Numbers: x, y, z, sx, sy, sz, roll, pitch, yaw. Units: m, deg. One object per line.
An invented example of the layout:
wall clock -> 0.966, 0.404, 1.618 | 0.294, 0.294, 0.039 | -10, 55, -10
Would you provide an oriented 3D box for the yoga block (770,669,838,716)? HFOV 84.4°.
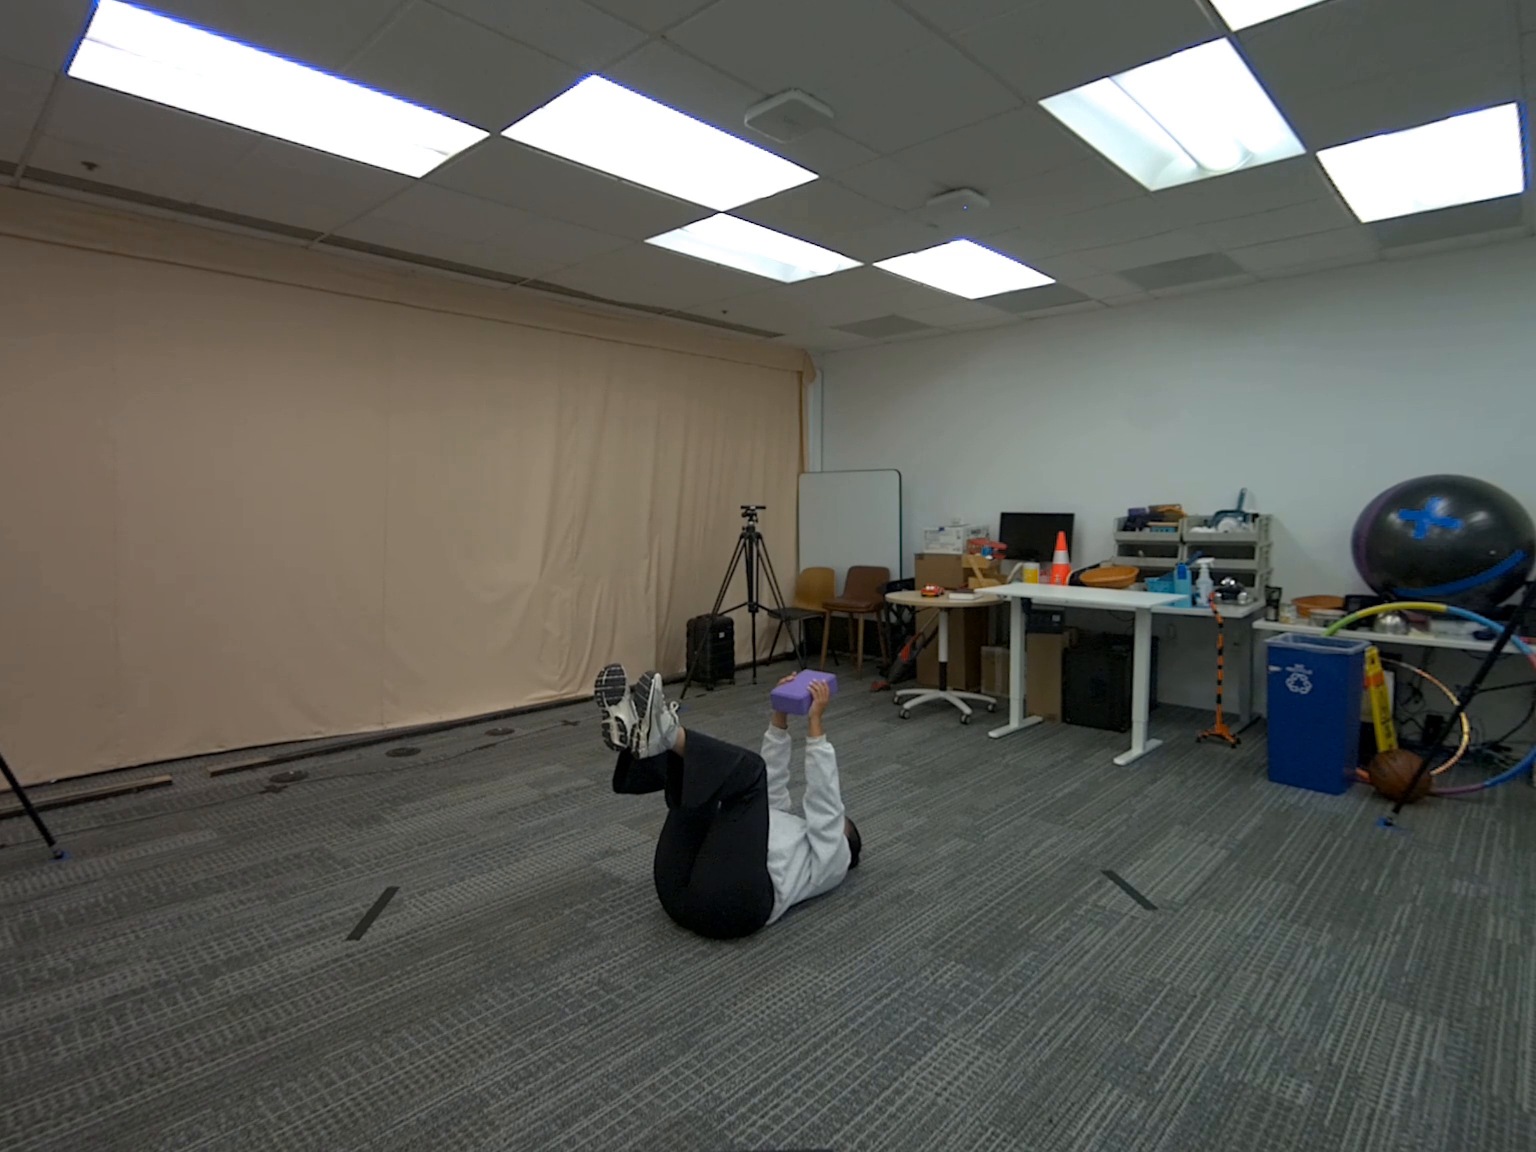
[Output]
yoga block -> 0.131, 0.433, 3.131 | 0.154, 0.075, 0.224 | 5, 21, 42
